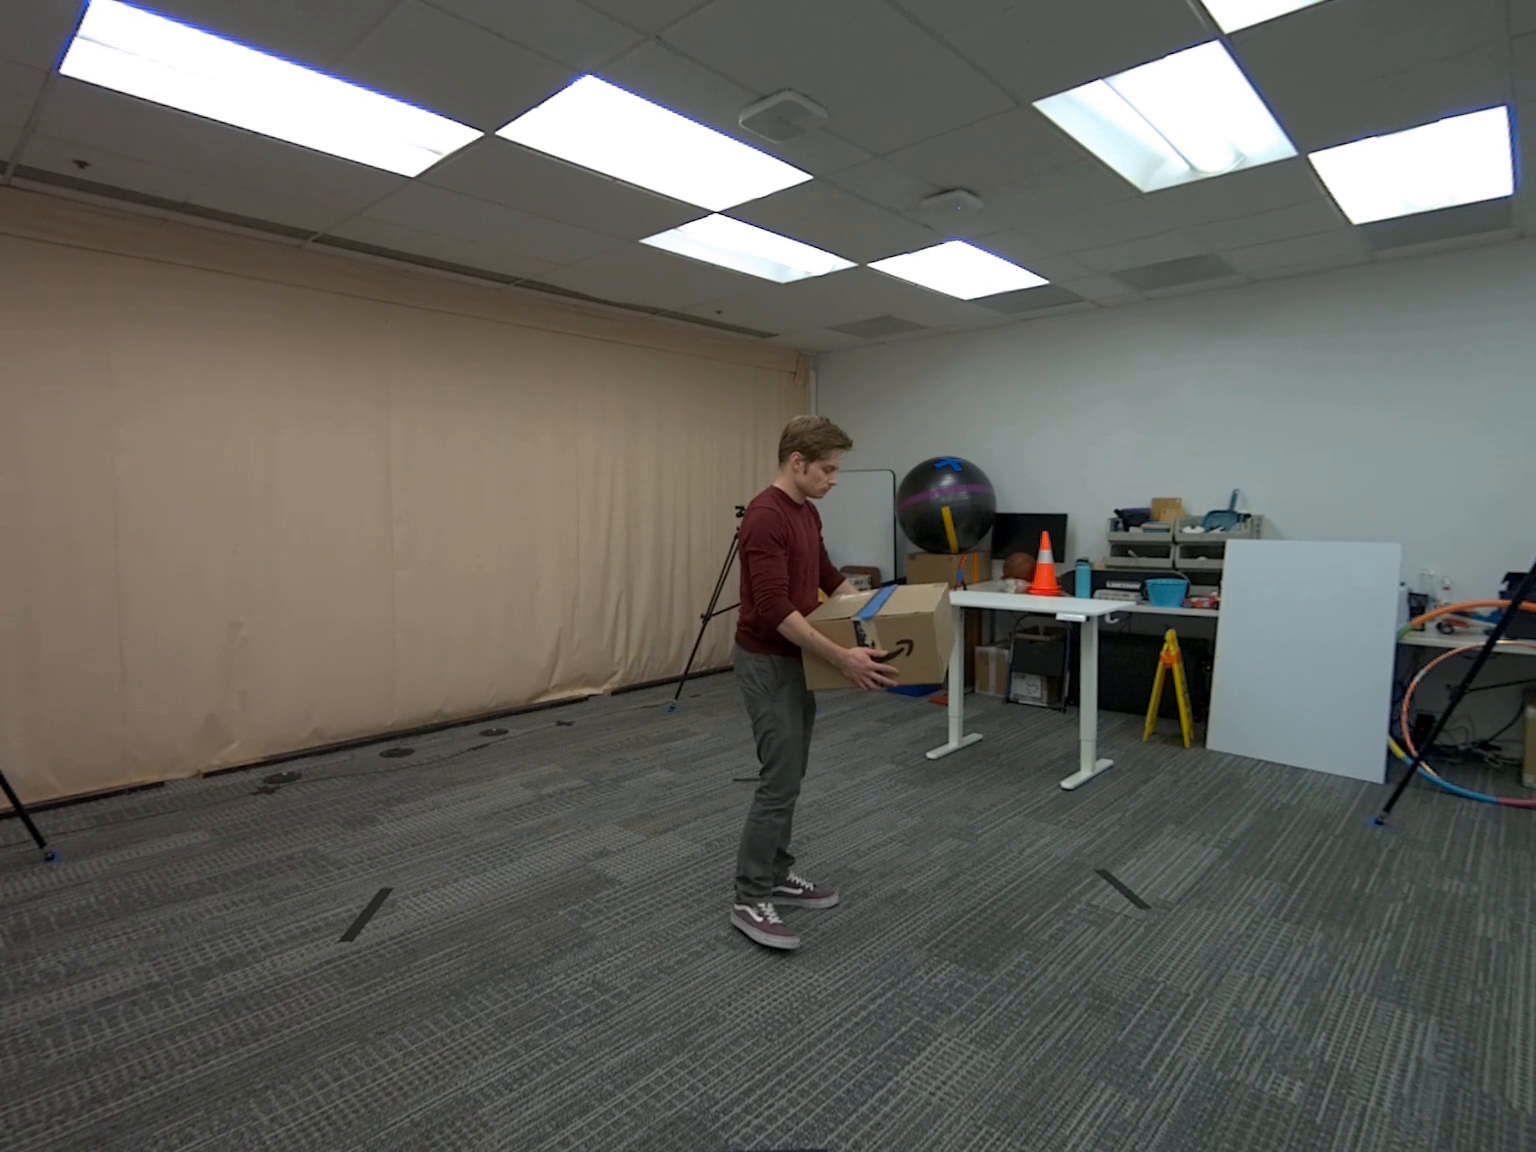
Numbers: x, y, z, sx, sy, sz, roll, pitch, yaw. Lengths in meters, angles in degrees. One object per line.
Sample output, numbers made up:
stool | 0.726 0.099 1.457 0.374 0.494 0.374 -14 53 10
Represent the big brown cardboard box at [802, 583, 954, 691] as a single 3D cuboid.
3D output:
big brown cardboard box | 0.385 0.188 2.796 0.425 0.232 0.581 -6 7 18
